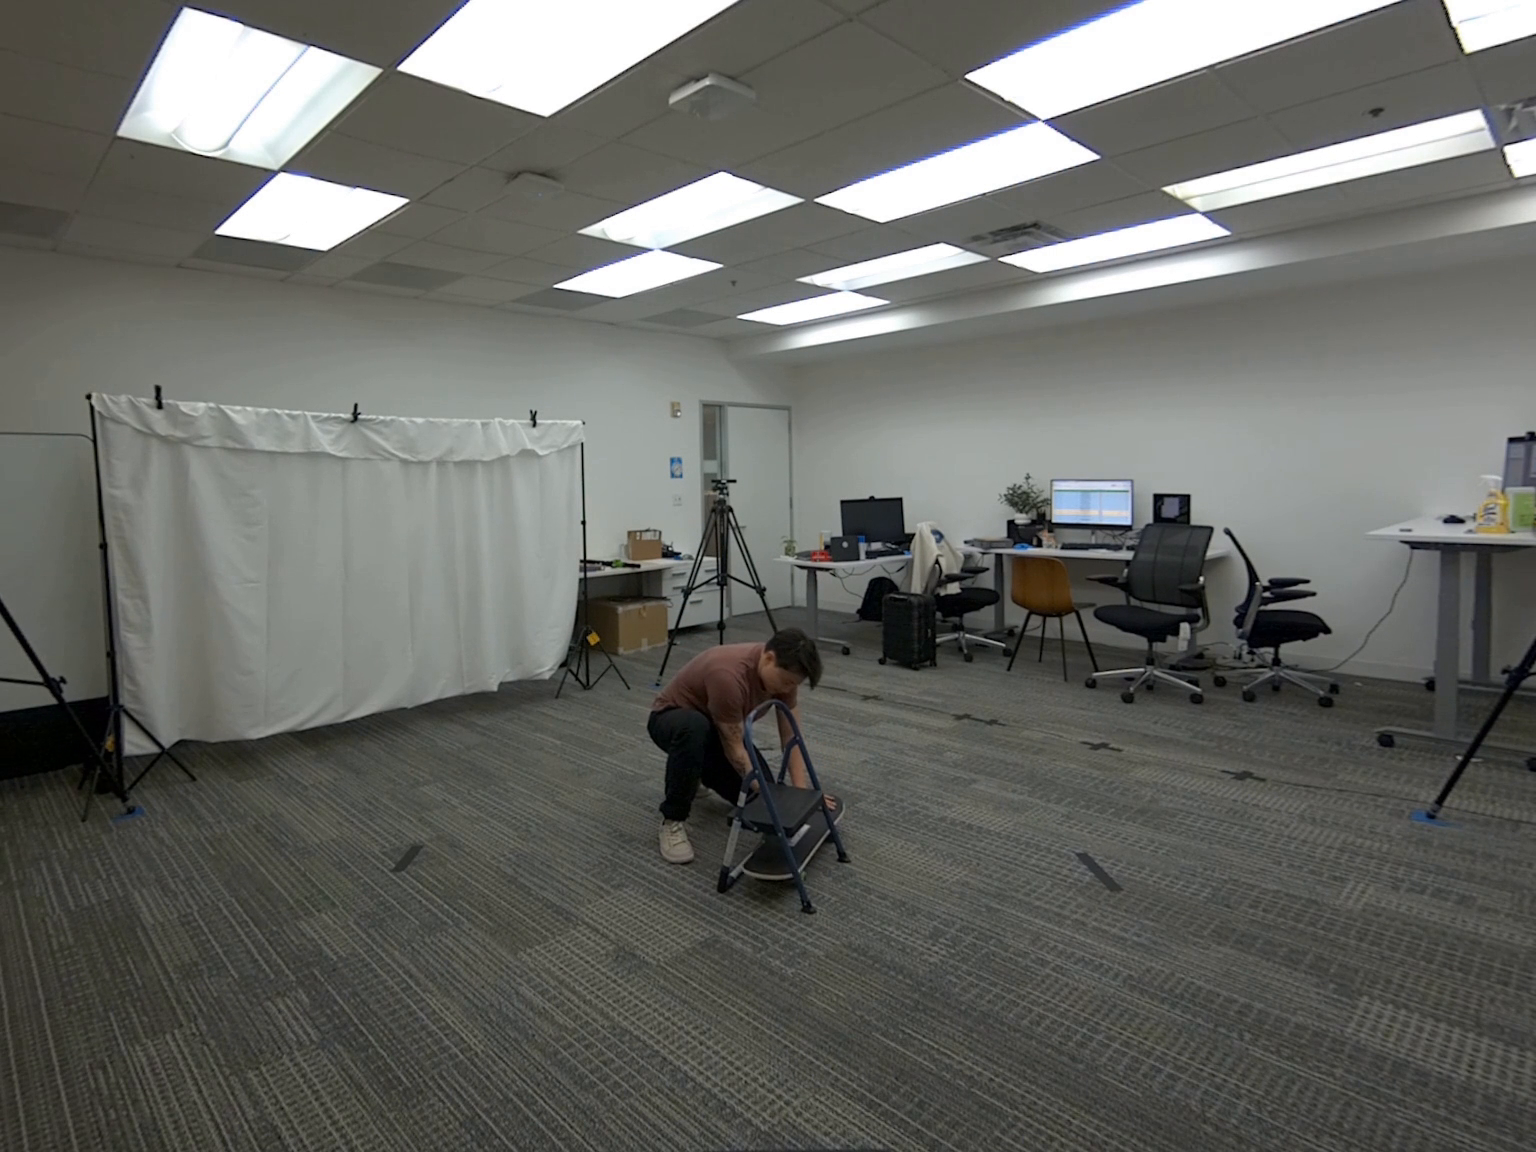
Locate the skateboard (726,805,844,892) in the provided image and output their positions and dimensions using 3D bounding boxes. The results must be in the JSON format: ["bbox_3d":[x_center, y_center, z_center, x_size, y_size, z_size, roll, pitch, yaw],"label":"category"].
[{"bbox_3d":[0.114,0.983,3.130,0.197,0.110,0.772,0,5,20],"label":"skateboard"}]
